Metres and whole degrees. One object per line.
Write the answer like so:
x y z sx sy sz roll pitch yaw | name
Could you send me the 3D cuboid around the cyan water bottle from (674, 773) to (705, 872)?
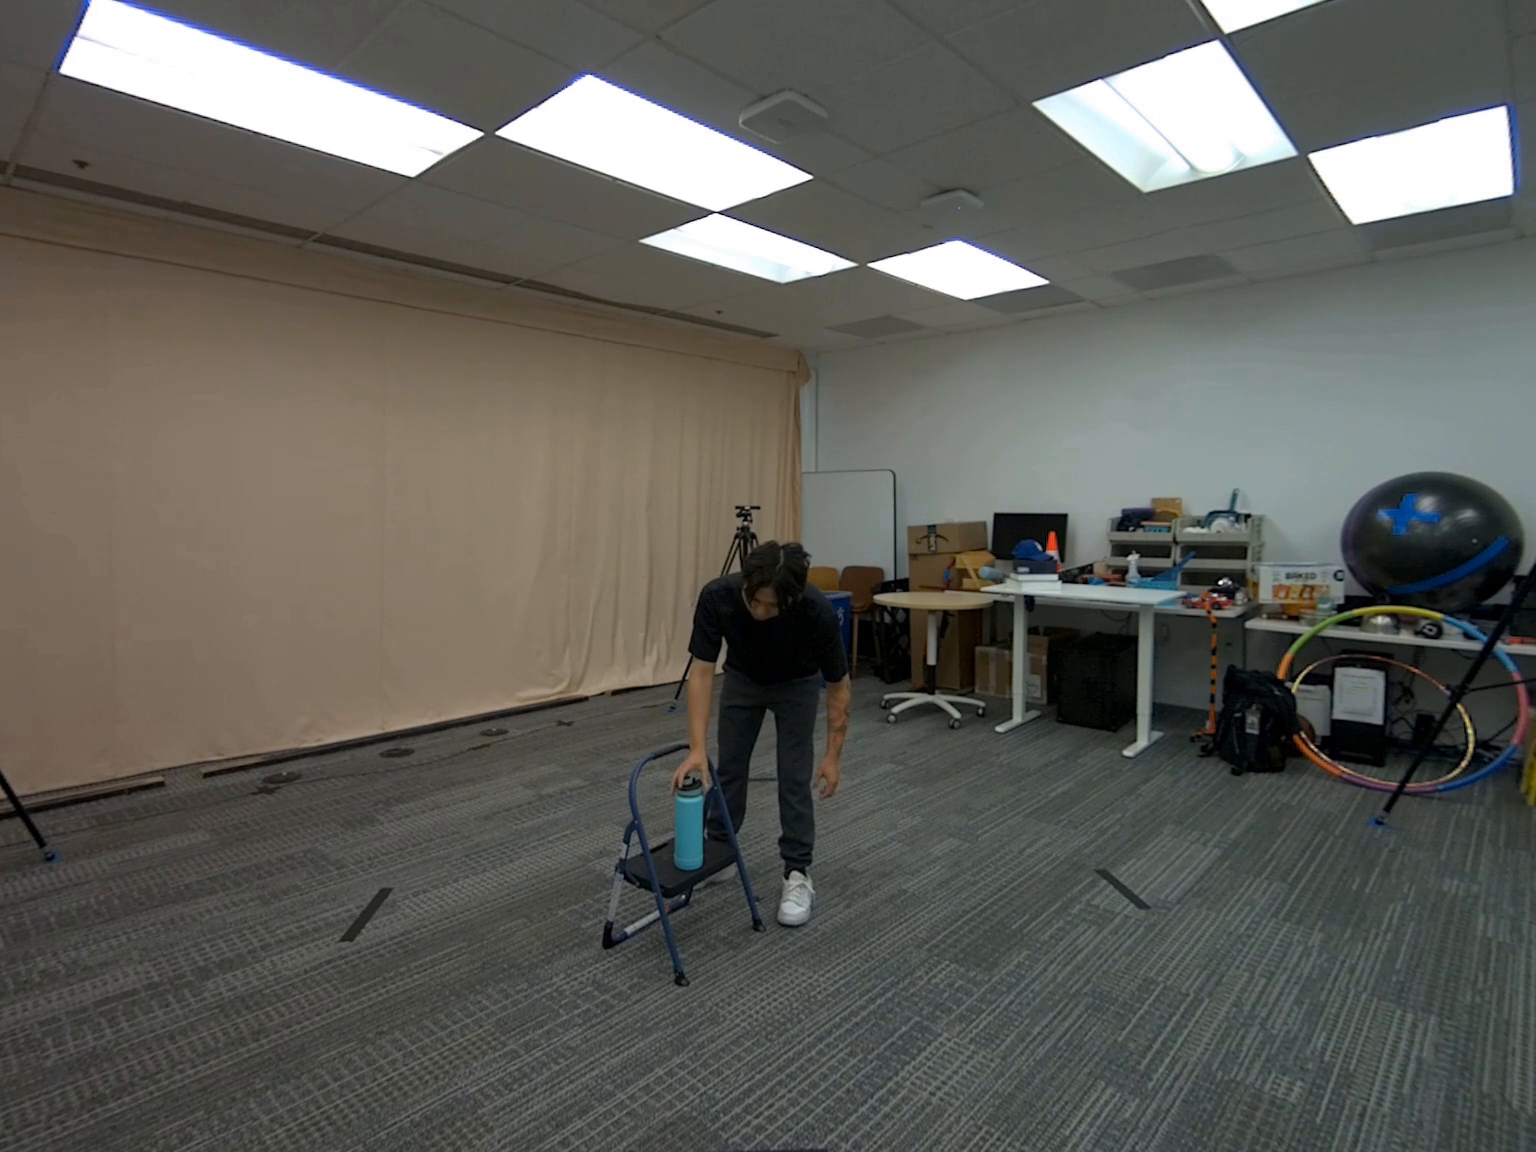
-0.252 0.773 2.653 0.092 0.283 0.092 0 4 -2 | cyan water bottle
